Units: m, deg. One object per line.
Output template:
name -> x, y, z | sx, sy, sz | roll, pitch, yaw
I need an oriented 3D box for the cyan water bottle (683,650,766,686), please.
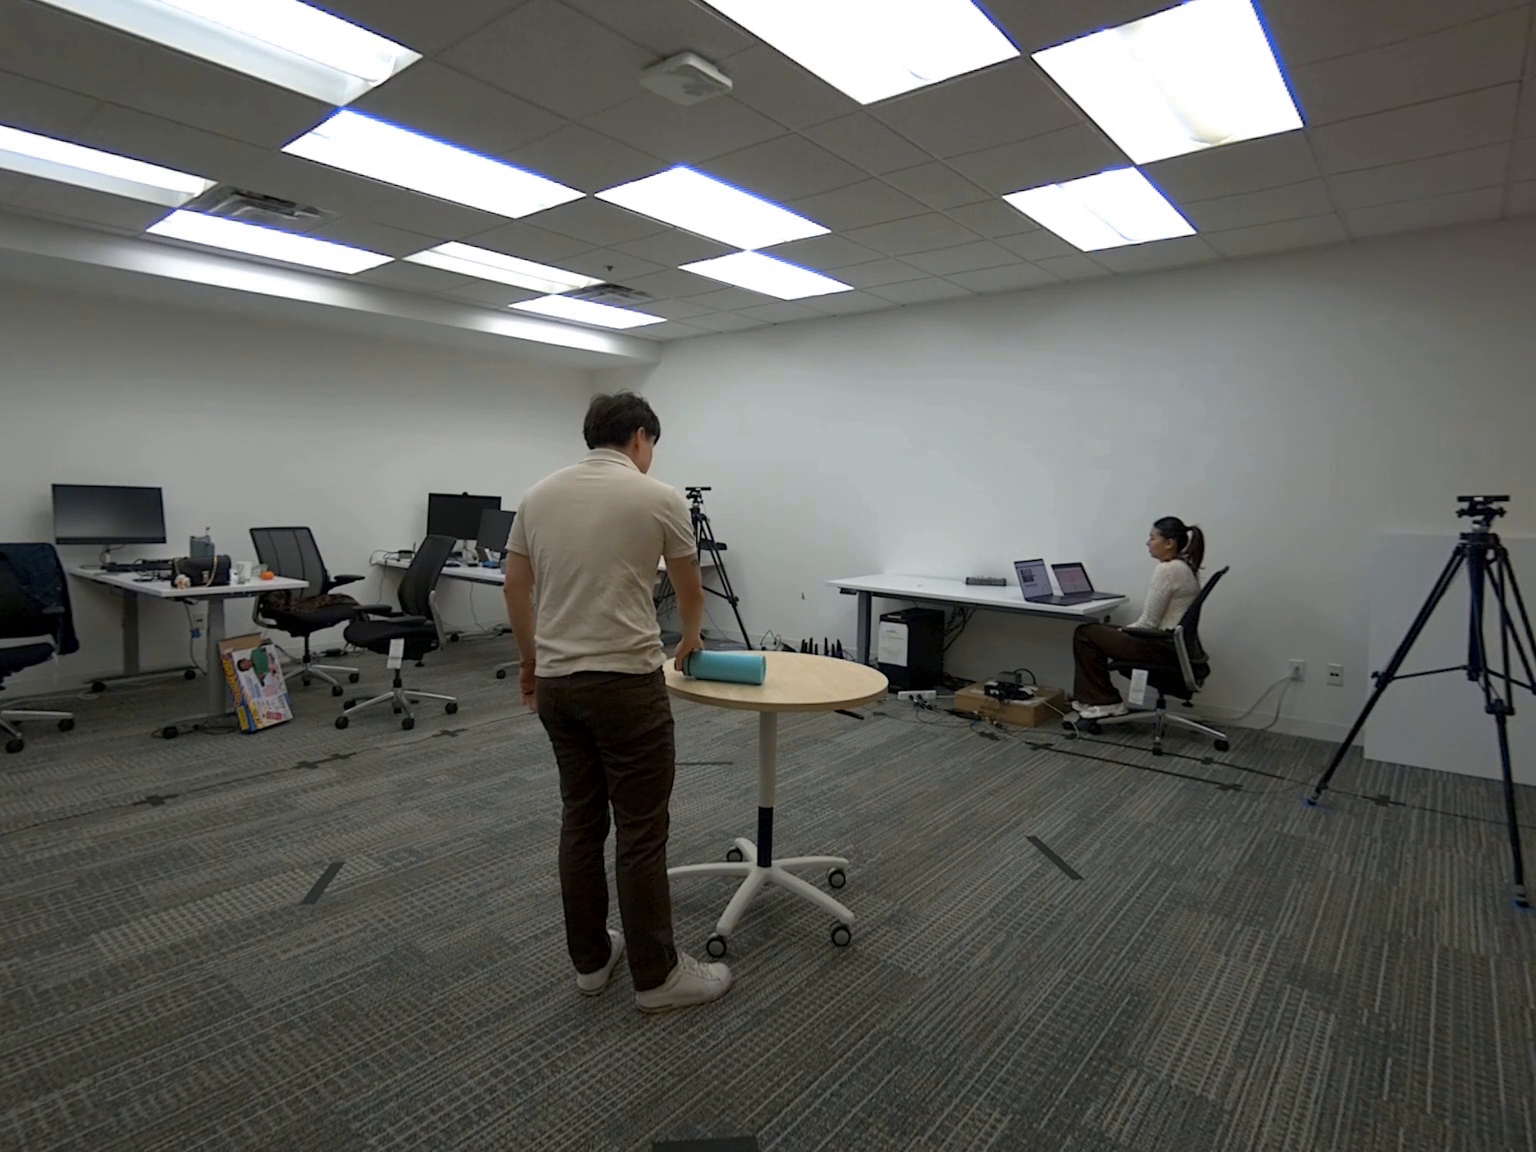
cyan water bottle -> -0.147, 0.285, 2.671 | 0.288, 0.092, 0.091 | 3, 4, 14
